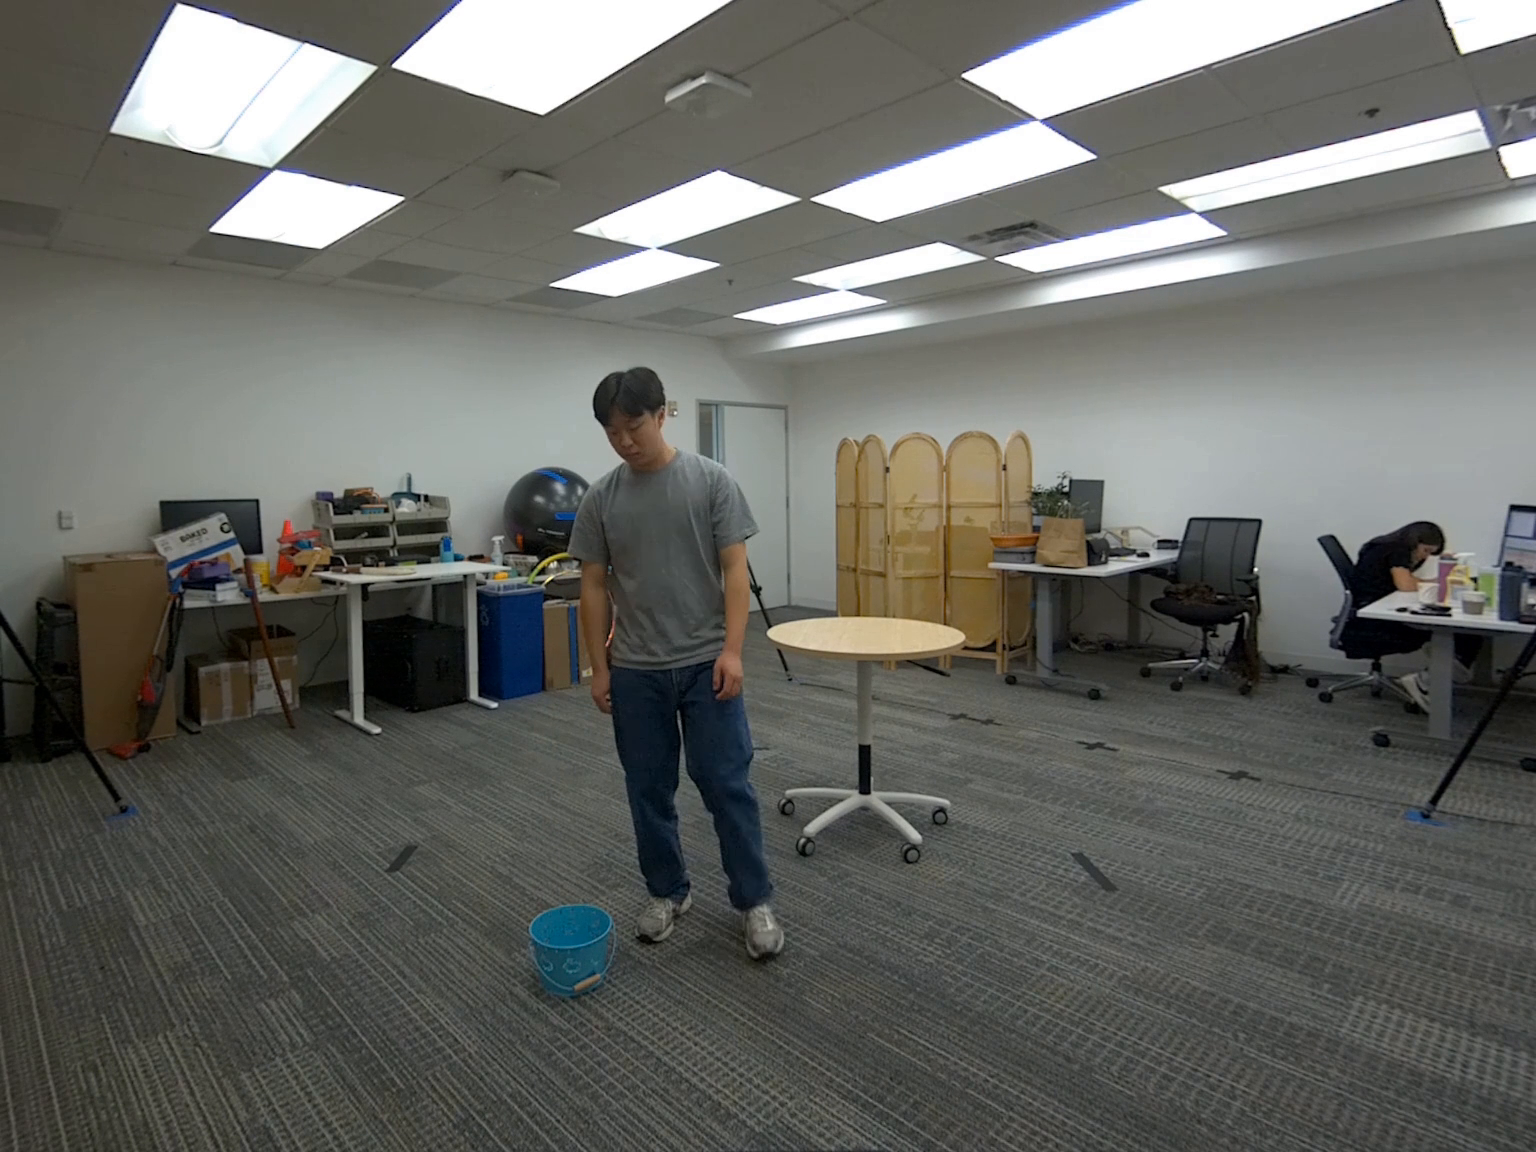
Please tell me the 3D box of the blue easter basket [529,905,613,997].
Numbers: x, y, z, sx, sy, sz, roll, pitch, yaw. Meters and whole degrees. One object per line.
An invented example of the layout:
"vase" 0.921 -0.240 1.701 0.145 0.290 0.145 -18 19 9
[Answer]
"blue easter basket" -0.550 1.059 2.414 0.243 0.155 0.245 -2 5 -2
